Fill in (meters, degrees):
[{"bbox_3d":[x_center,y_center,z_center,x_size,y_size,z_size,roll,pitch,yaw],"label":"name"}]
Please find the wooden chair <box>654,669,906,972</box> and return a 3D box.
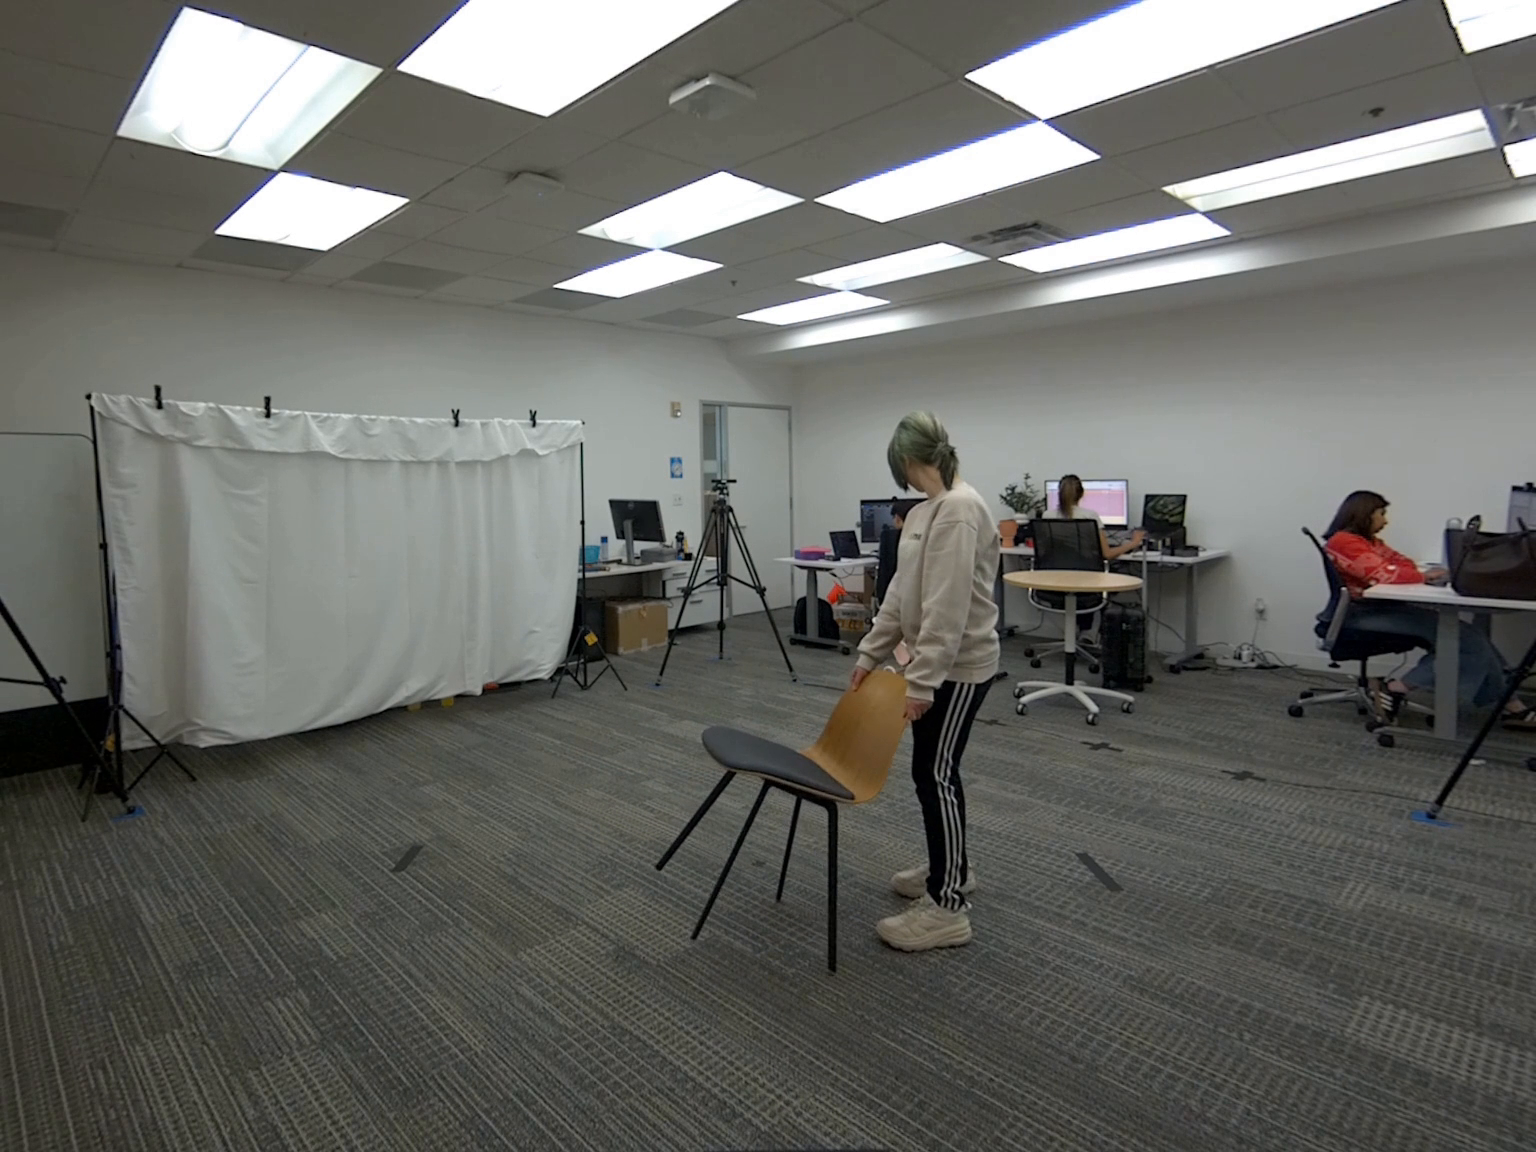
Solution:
[{"bbox_3d":[0.060,0.621,2.574,0.512,0.878,0.488,26,-3,-19],"label":"wooden chair"}]
